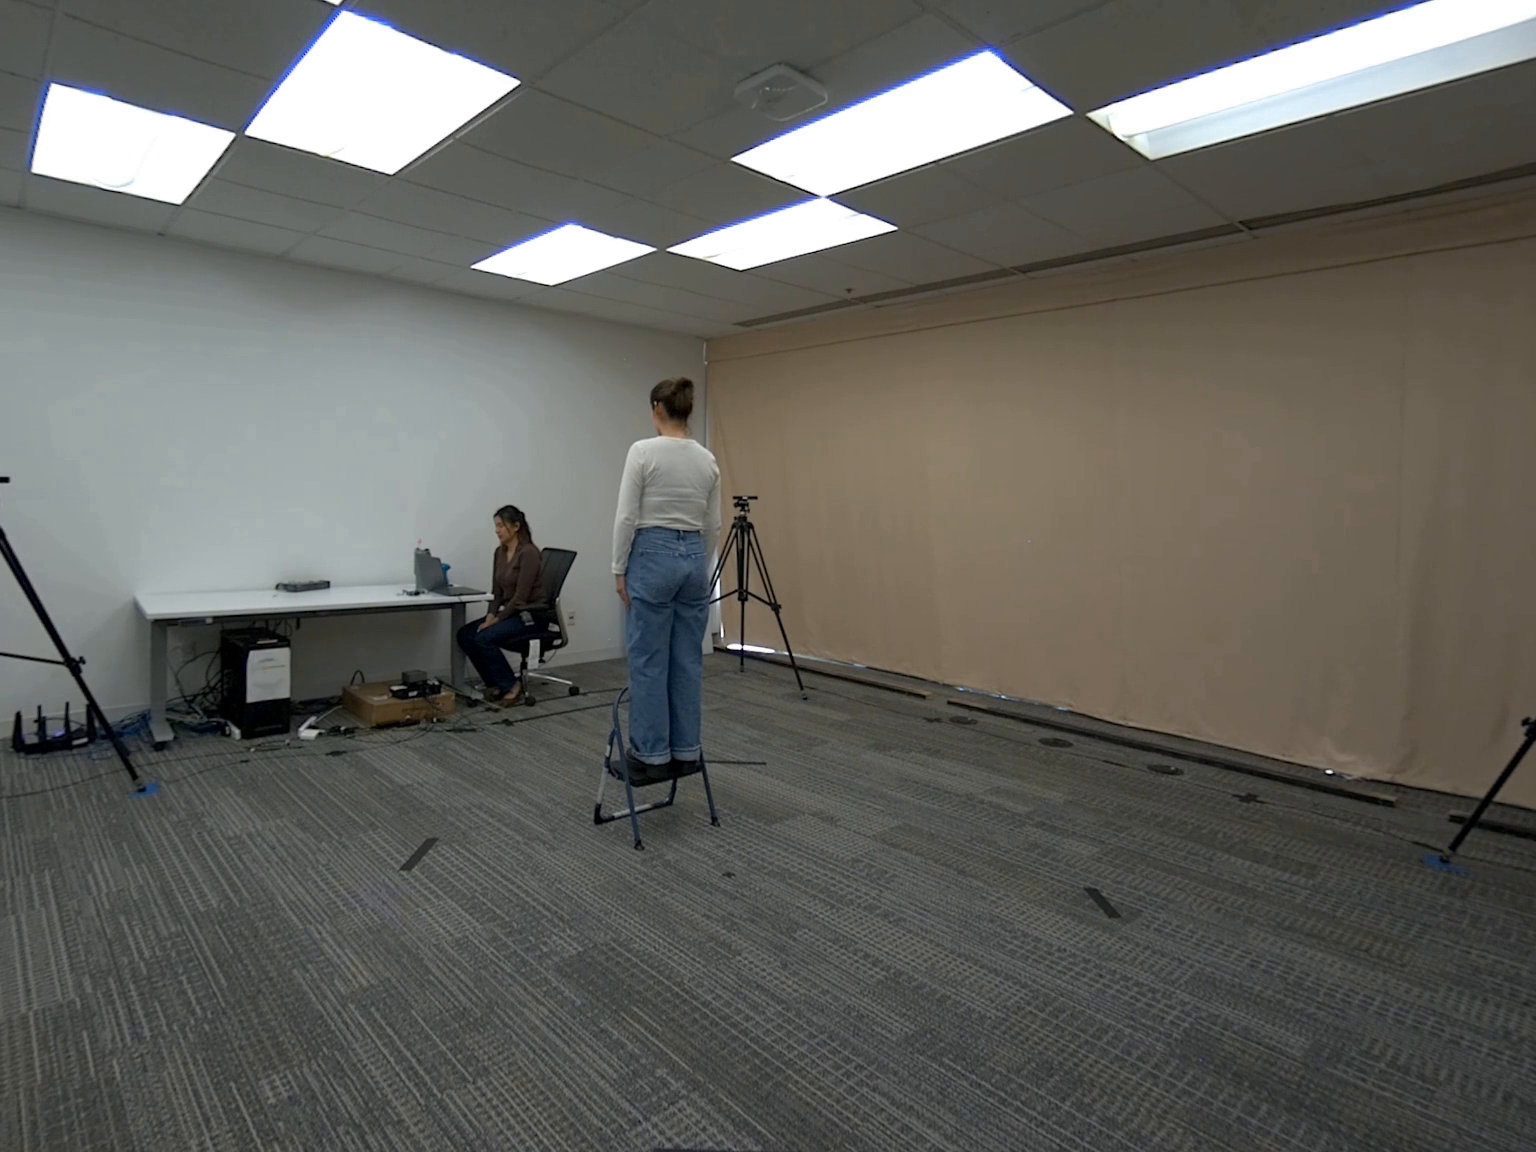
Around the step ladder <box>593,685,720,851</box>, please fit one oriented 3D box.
[{"bbox_3d":[-0.470,0.754,3.553,0.421,0.605,0.358,-1,4,-44],"label":"step ladder"}]
